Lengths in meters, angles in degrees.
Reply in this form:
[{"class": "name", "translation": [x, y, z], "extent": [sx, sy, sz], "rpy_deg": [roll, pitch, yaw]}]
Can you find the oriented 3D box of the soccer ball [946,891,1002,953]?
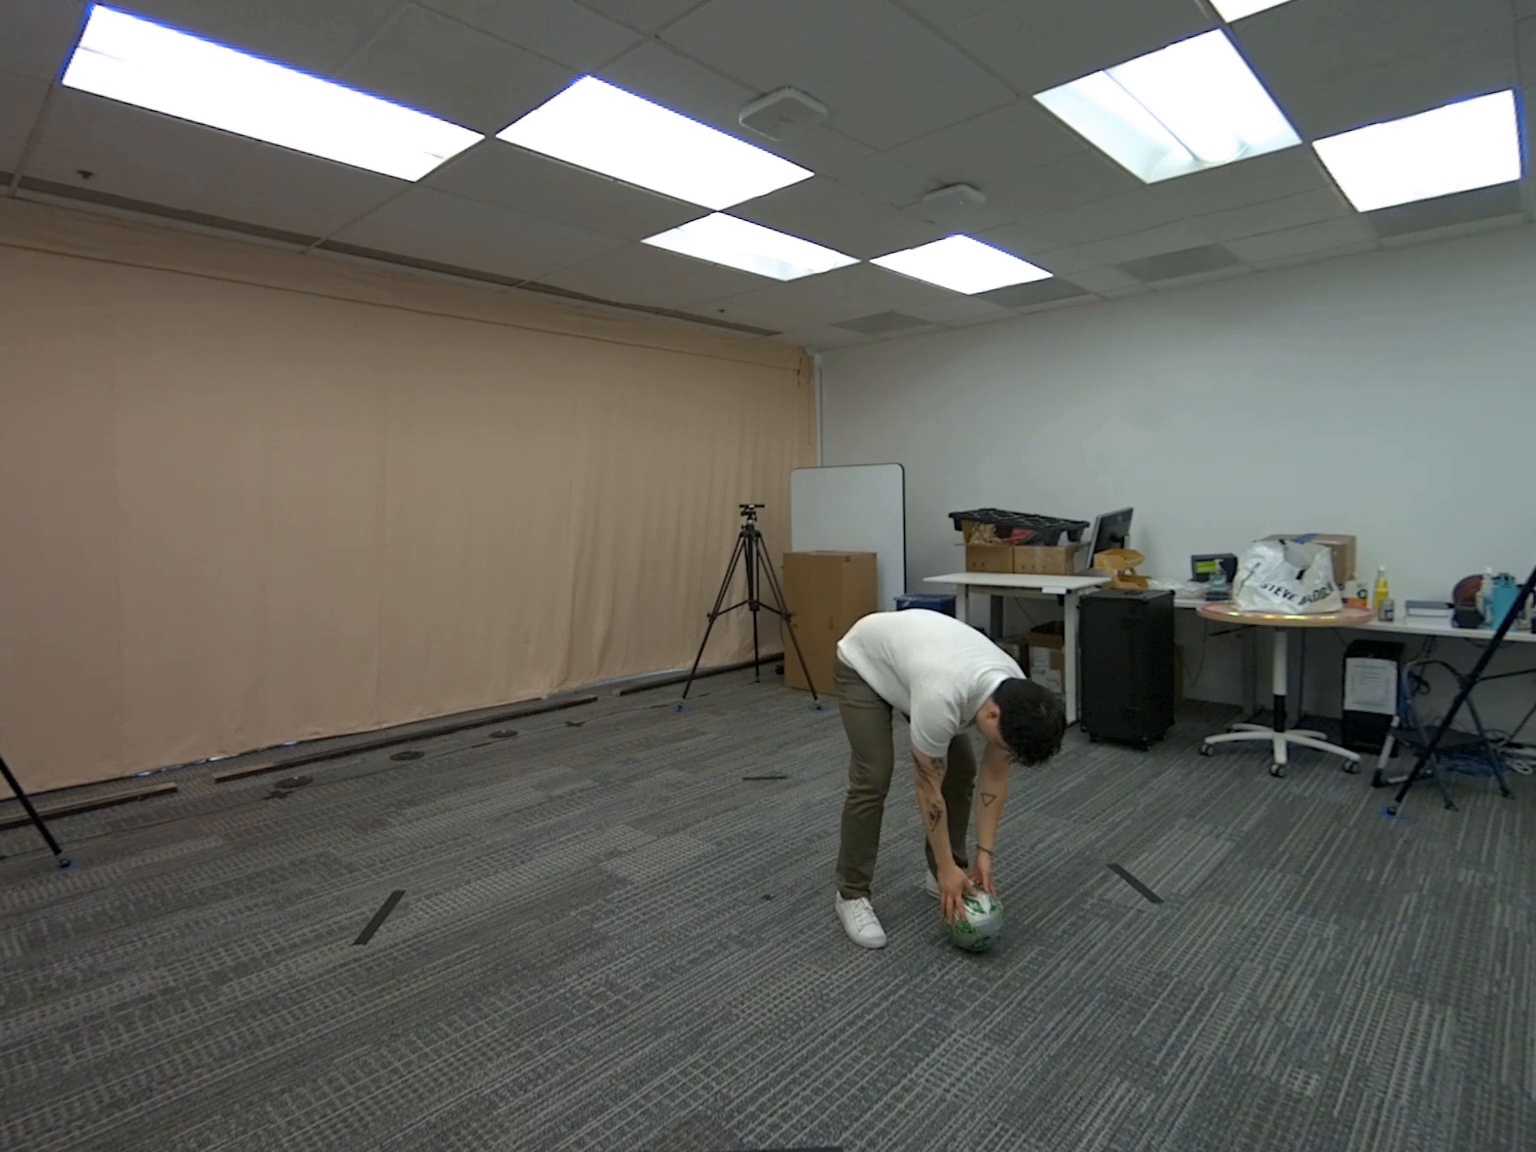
[{"class": "soccer ball", "translation": [0.643, 1.056, 2.627], "extent": [0.187, 0.187, 0.188], "rpy_deg": [-1, 4, -2]}]
